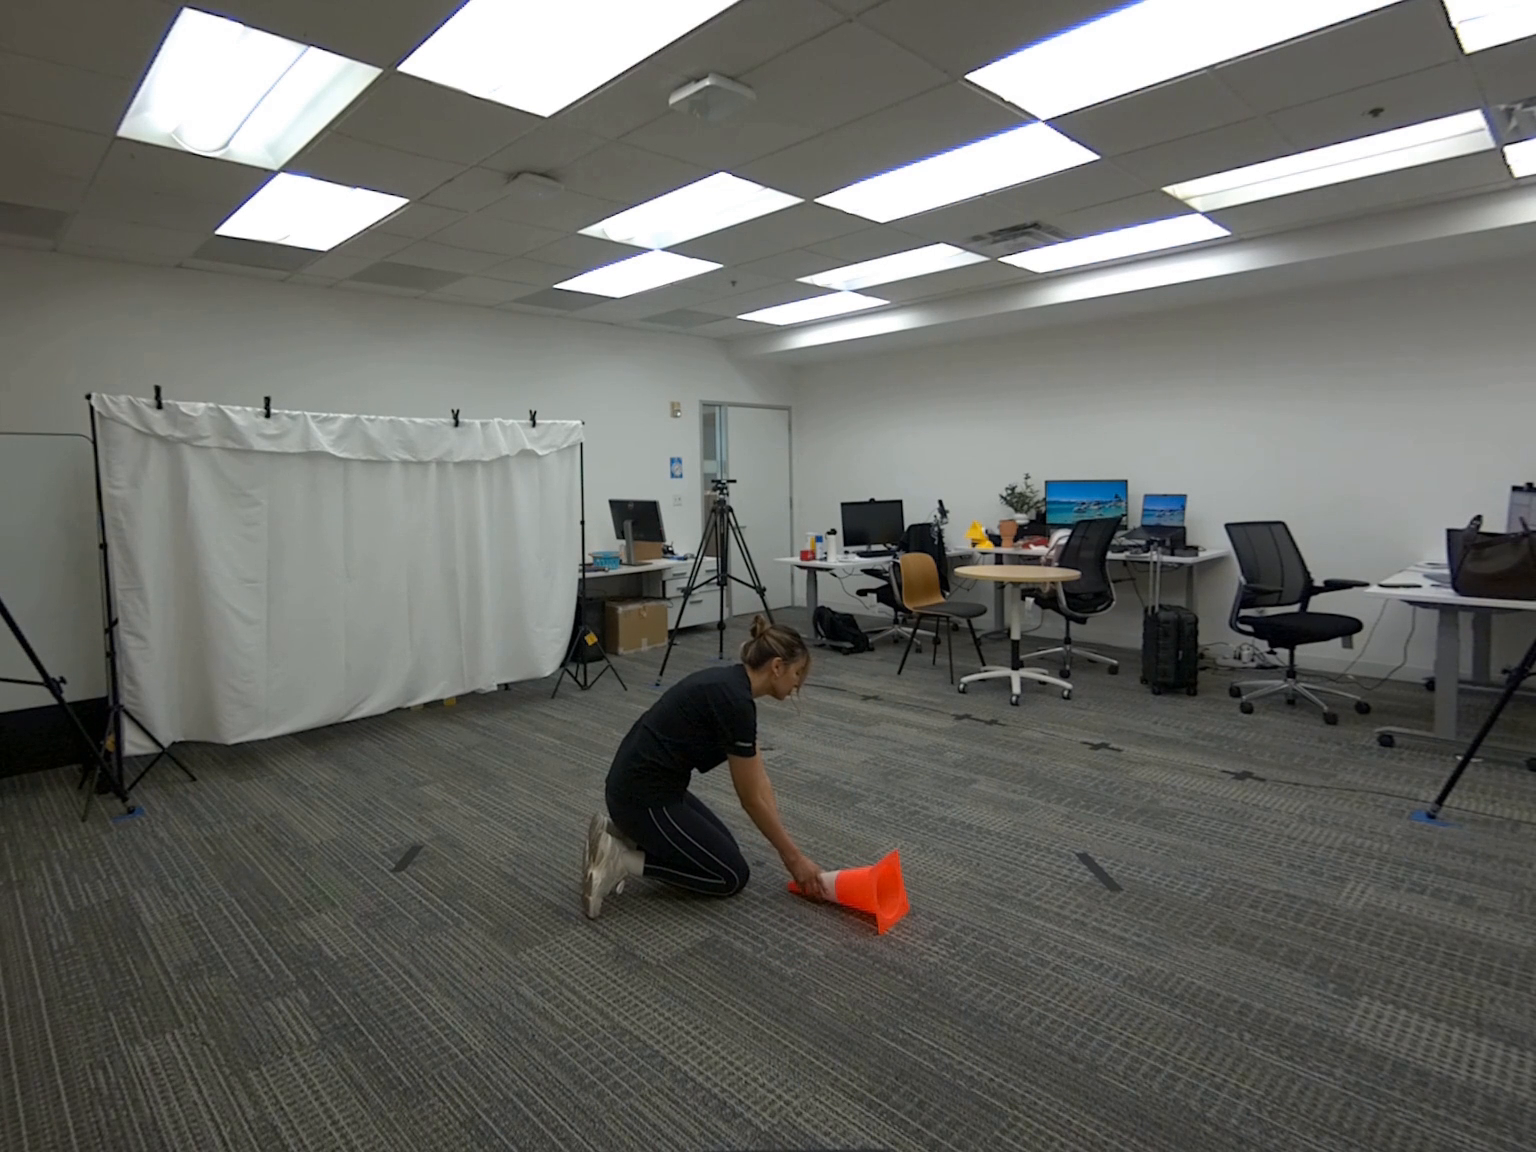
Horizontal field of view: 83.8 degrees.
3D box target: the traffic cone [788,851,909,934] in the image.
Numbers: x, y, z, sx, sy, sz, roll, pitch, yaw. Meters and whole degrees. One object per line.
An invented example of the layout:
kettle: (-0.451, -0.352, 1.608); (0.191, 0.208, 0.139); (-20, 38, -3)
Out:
traffic cone: (0.229, 1.016, 2.797); (0.392, 0.204, 0.200); (-11, -3, 37)
